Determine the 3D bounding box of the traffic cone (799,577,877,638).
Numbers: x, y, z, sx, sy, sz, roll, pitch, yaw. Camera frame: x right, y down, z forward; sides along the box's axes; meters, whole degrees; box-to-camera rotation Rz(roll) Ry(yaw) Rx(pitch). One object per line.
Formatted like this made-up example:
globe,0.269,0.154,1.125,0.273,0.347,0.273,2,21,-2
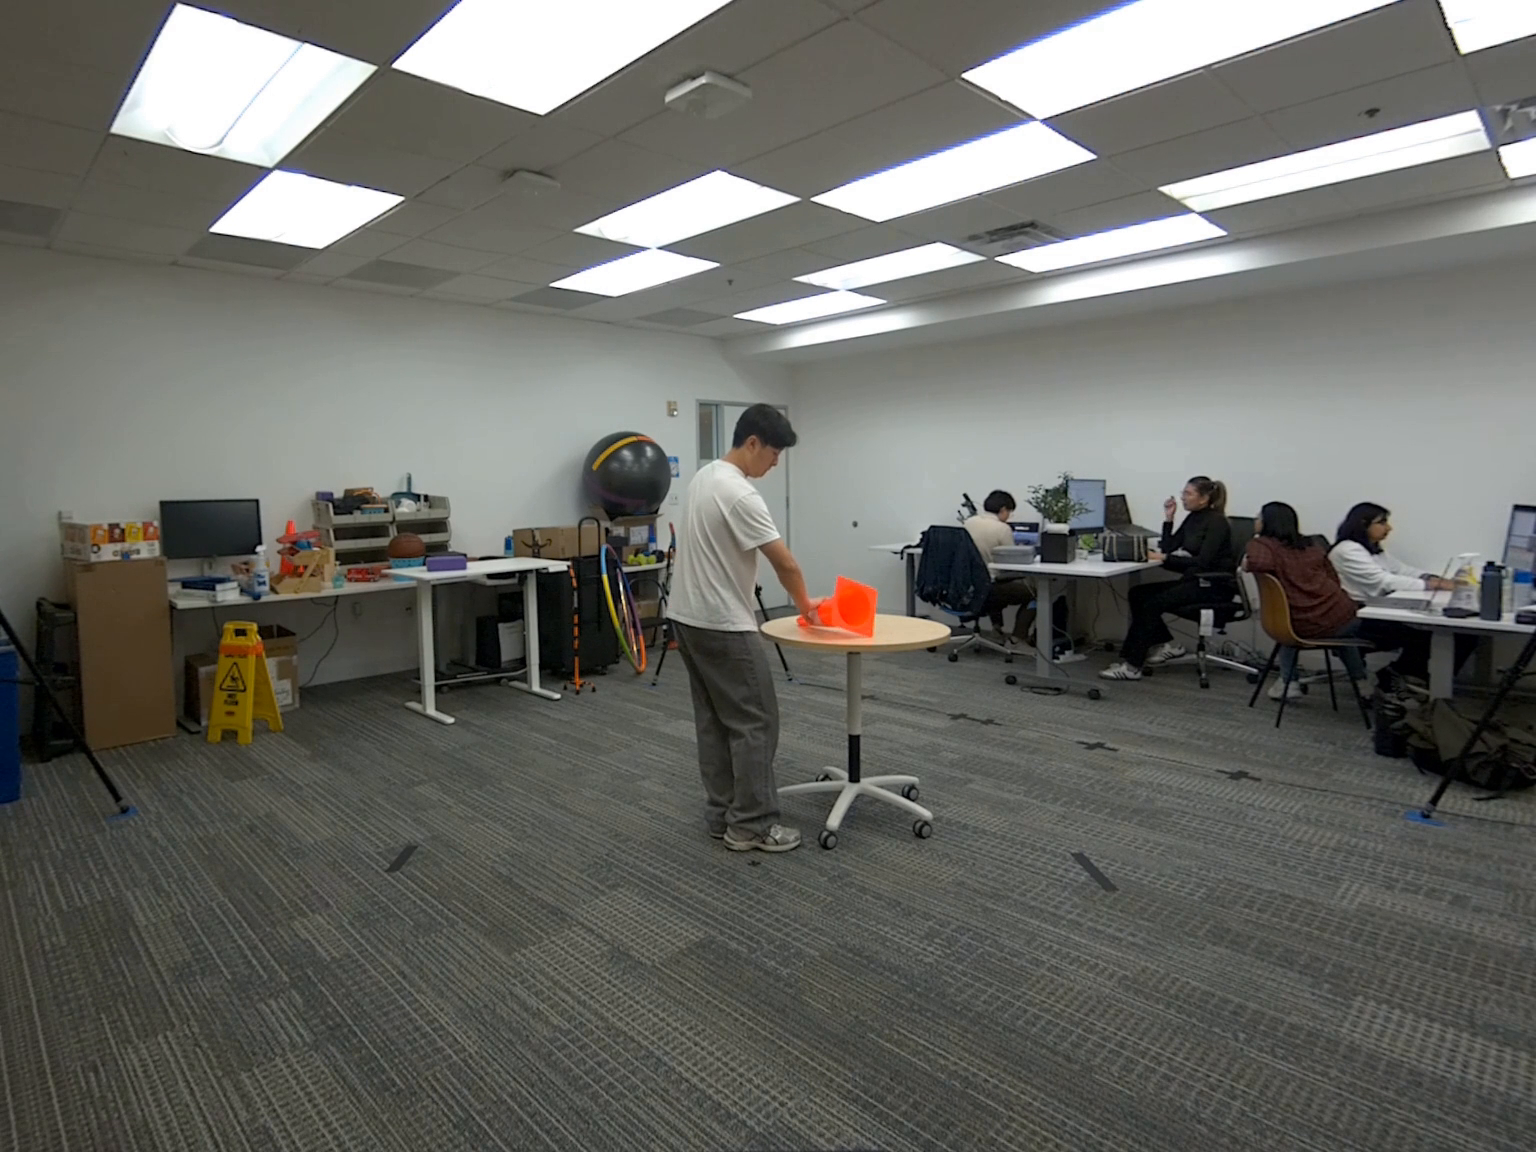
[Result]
traffic cone,0.228,0.152,3.414,0.198,0.208,0.389,21,-22,-26
